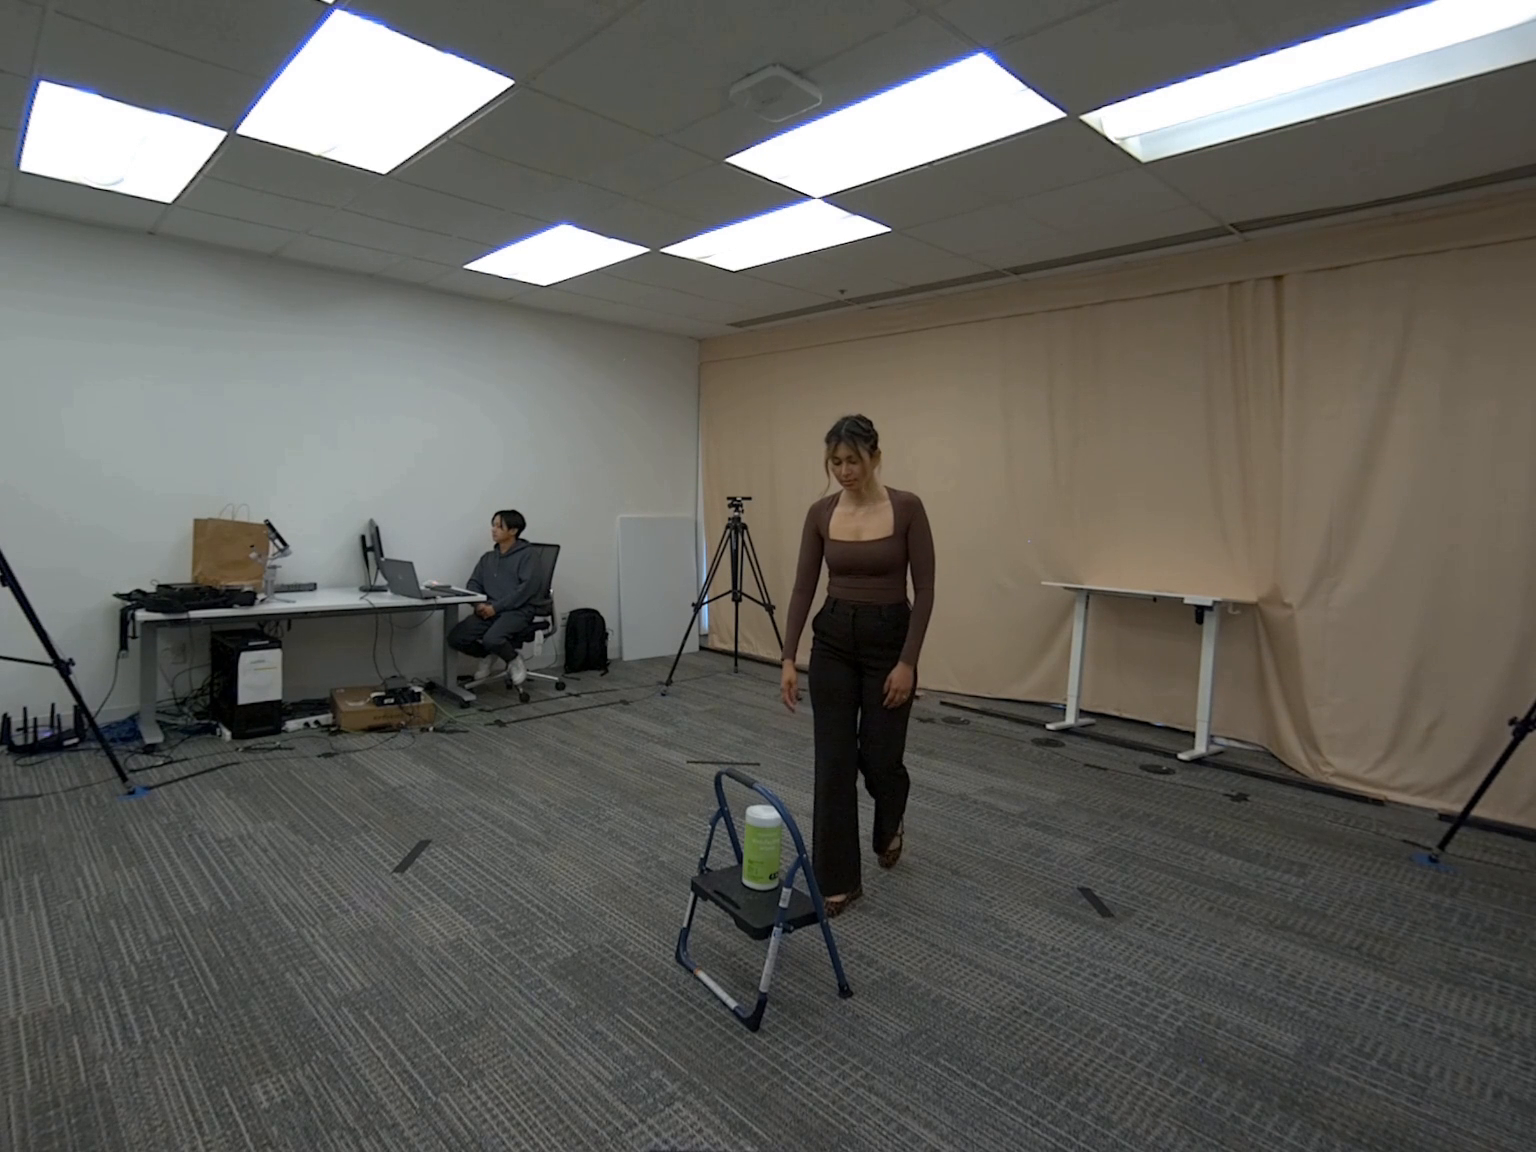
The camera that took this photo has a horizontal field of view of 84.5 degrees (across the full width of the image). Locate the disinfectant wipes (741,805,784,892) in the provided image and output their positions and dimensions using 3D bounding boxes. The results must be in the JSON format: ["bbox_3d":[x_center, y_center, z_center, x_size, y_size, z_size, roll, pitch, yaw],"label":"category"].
[{"bbox_3d":[-0.027,0.803,2.466,0.118,0.217,0.118,4,4,-2],"label":"disinfectant wipes"}]
